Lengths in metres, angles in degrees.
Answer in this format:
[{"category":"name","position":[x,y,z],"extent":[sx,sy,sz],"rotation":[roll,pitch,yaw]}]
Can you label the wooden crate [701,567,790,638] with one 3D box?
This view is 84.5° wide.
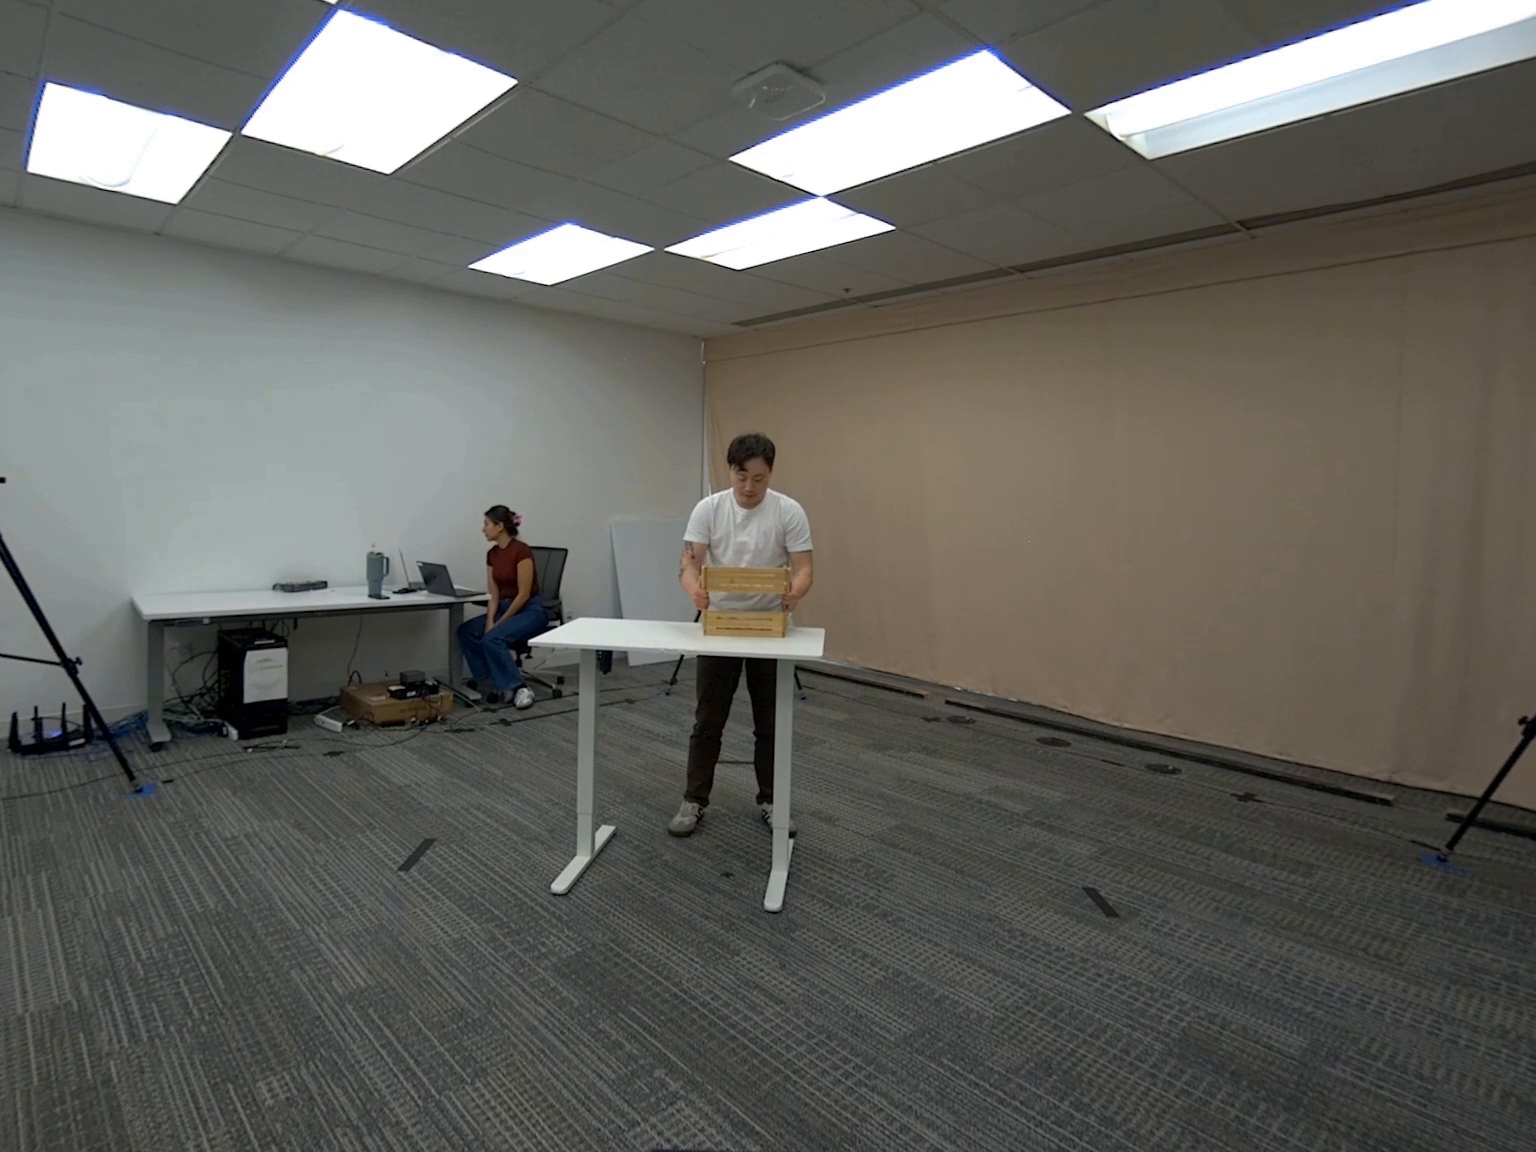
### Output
[{"category":"wooden crate","position":[-0.106,0.083,3.186],"extent":[0.325,0.272,0.303],"rotation":[1,5,0]}]
